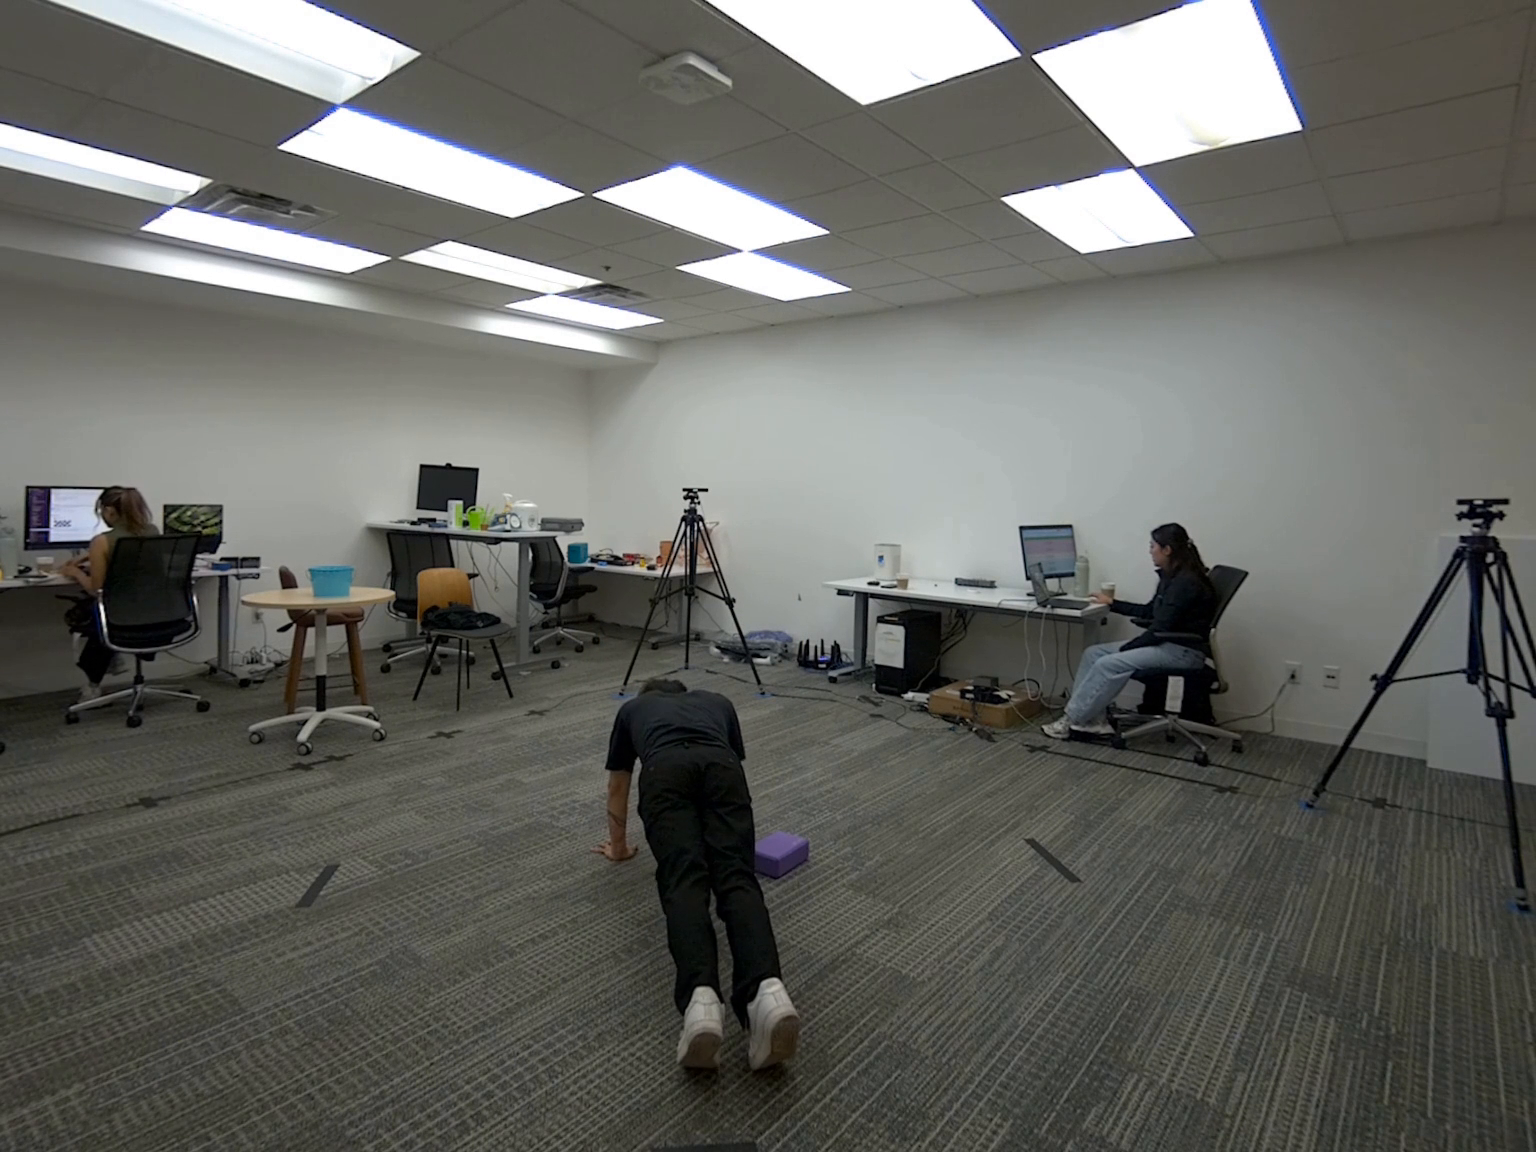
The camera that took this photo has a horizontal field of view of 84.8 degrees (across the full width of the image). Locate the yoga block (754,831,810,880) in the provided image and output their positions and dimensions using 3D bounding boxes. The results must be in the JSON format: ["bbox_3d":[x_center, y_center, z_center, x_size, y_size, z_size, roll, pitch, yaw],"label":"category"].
[{"bbox_3d":[0.028,1.029,3.166,0.154,0.076,0.223,4,6,34],"label":"yoga block"}]
